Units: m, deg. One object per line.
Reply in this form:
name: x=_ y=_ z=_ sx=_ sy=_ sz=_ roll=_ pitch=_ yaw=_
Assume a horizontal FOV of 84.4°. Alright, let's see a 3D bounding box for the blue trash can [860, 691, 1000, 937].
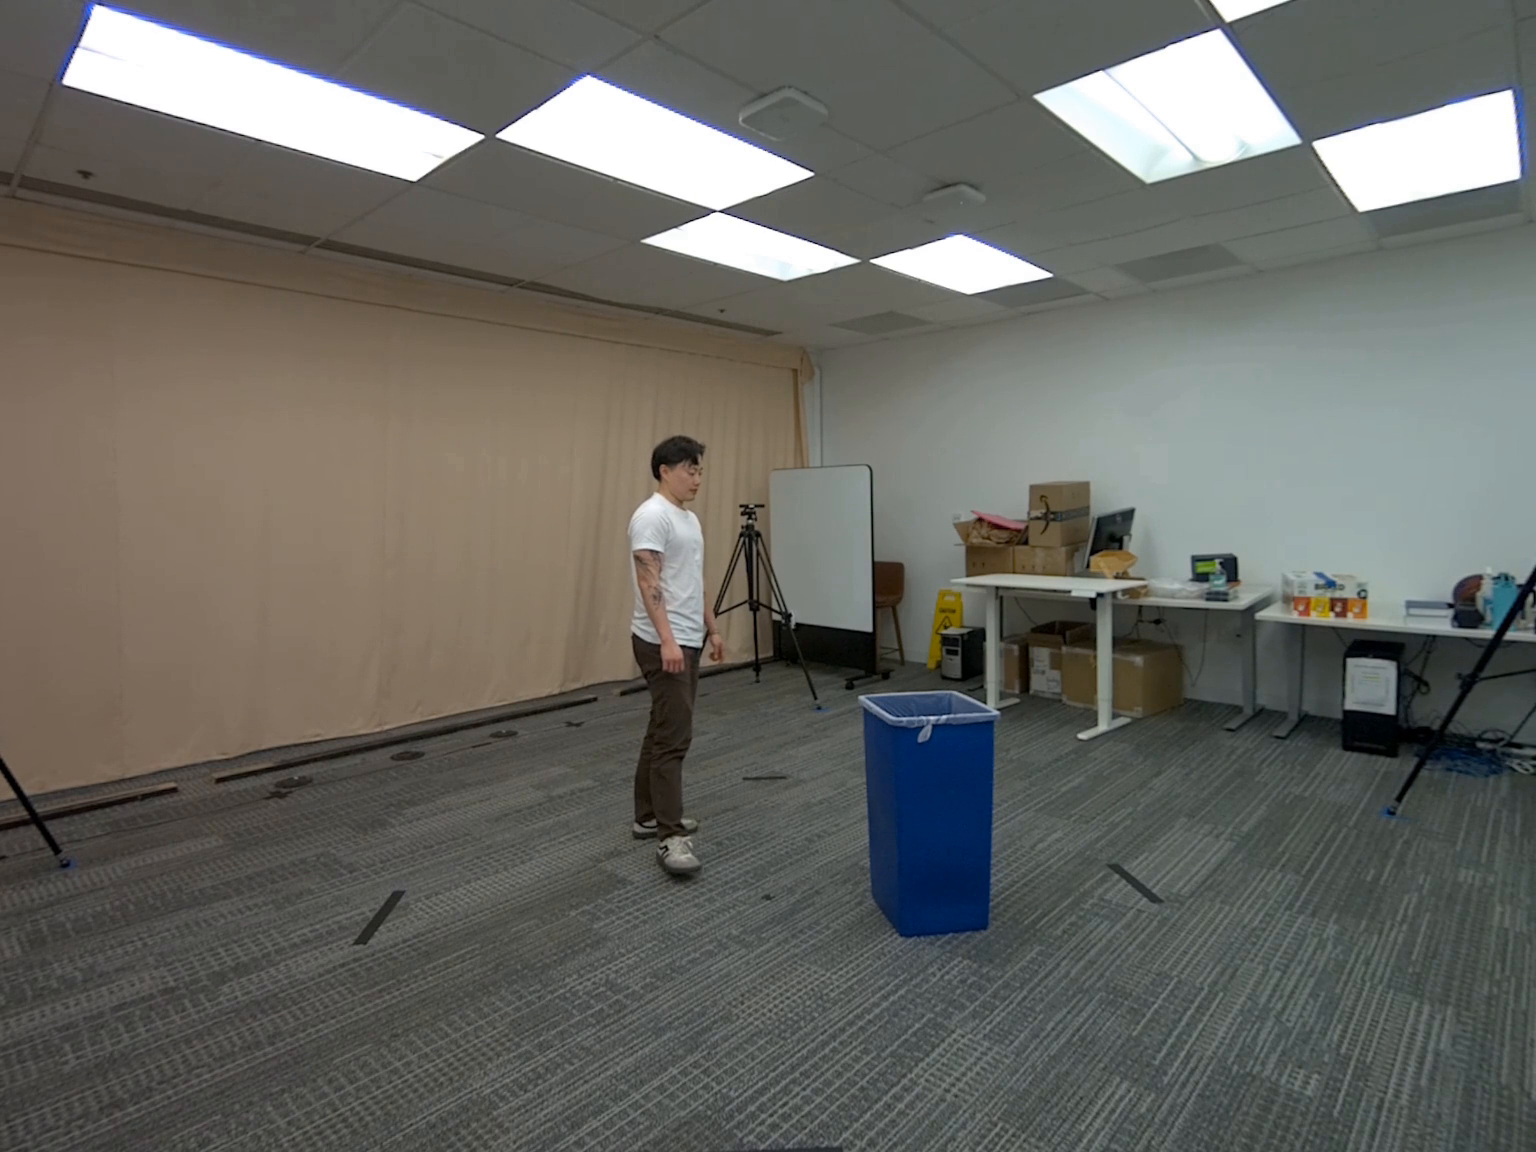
blue trash can: x=0.550 y=0.785 z=2.840 sx=0.370 sy=0.712 sz=0.383 roll=-2 pitch=3 yaw=-10
